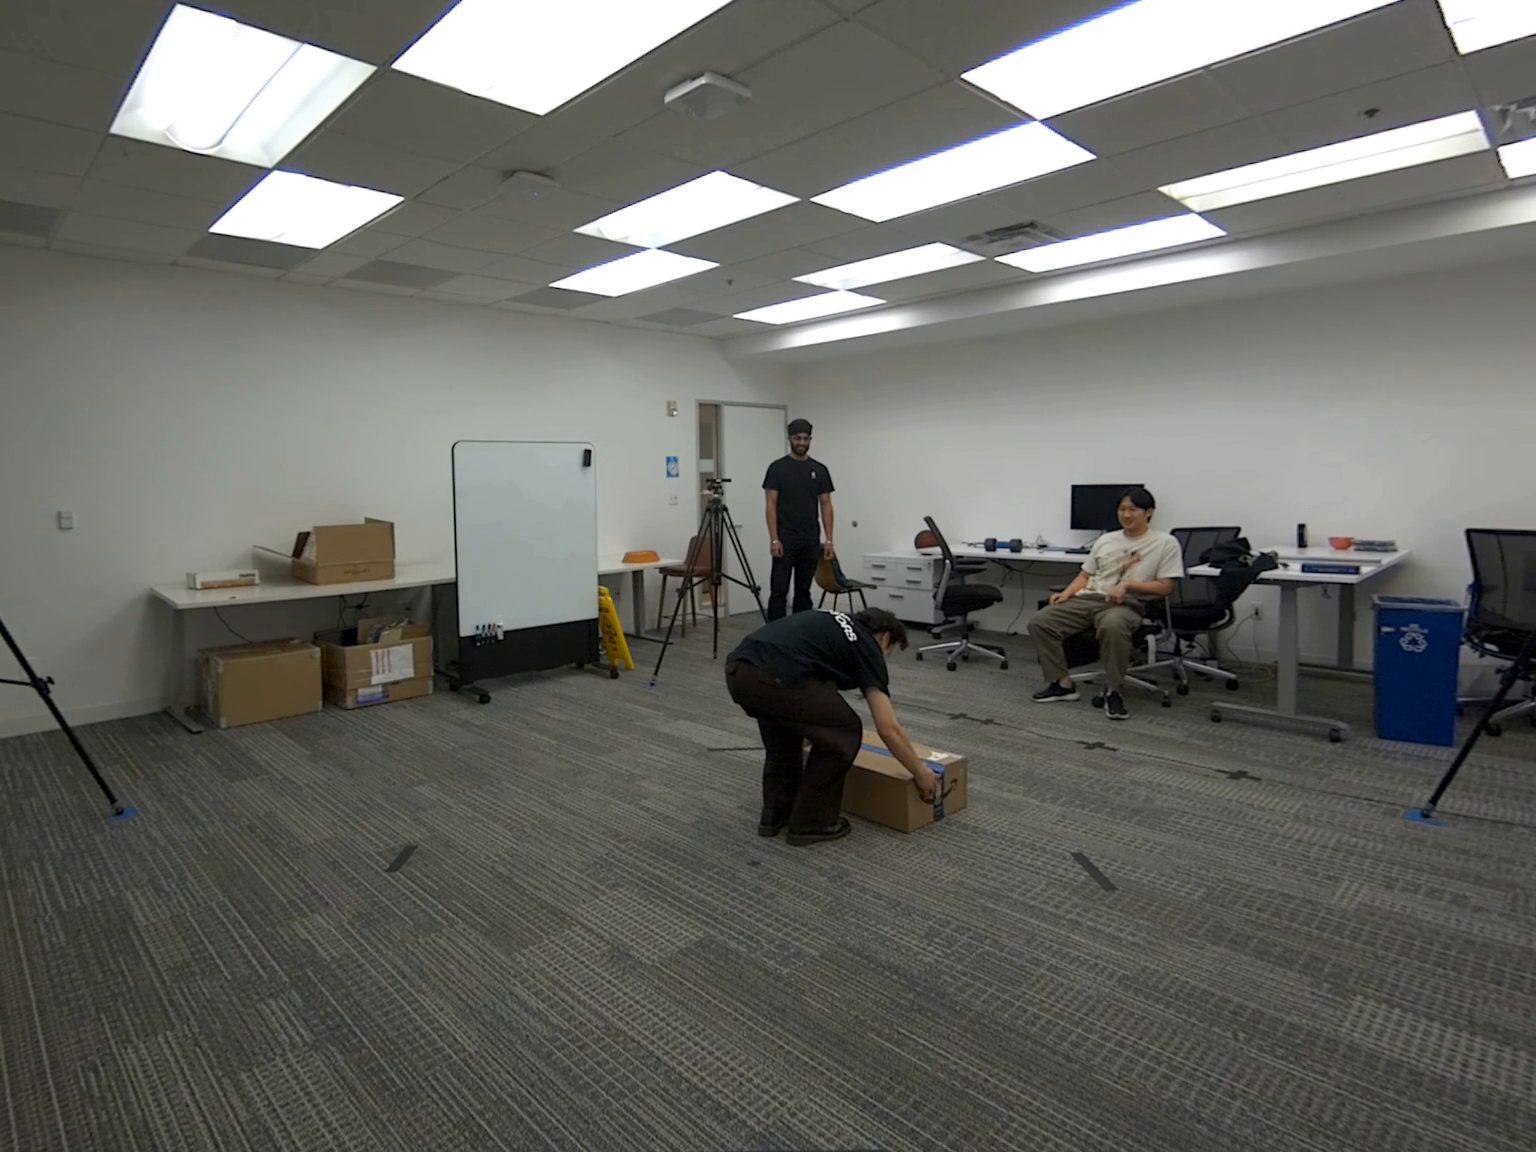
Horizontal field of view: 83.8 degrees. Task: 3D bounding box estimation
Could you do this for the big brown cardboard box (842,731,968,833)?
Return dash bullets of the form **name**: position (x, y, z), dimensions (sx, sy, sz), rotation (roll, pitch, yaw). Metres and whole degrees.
- **big brown cardboard box**: position (0.490, 0.854, 3.659), dimensions (0.407, 0.232, 0.607), rotation (-7, 8, -44)
